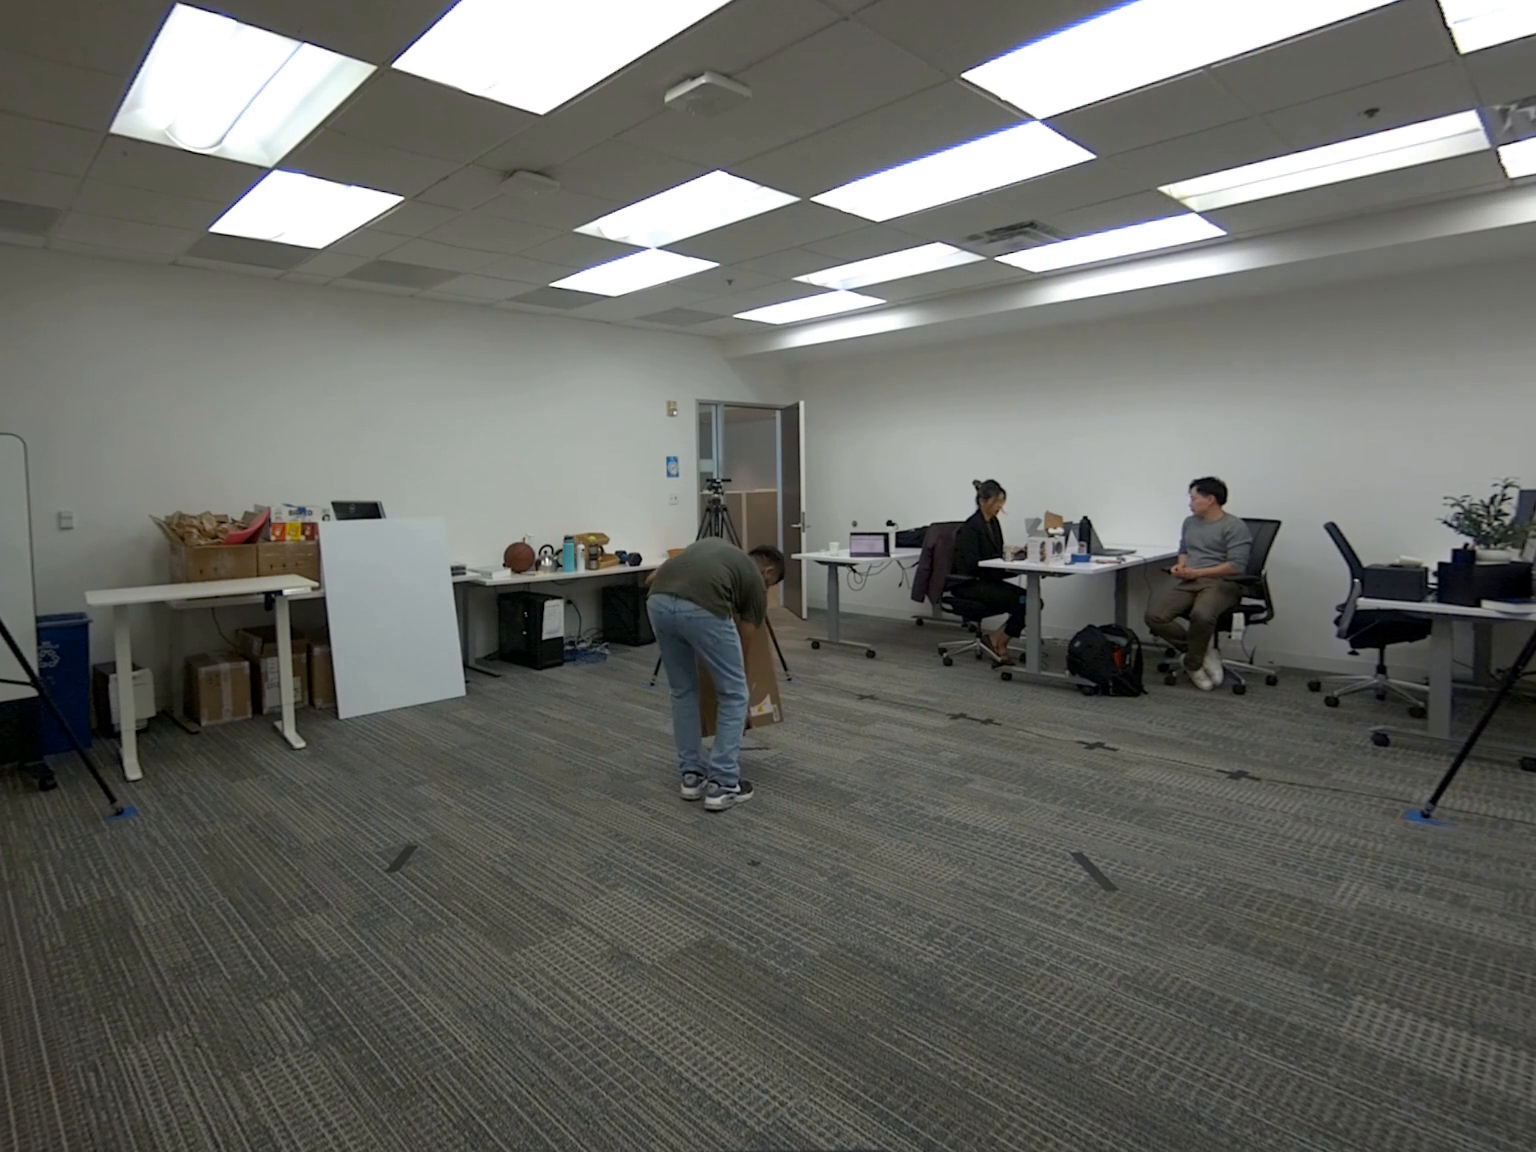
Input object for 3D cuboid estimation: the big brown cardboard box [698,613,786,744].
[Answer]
[{"bbox_3d":[-0.193,0.454,4.151,0.415,0.588,0.235,-10,2,-7],"label":"big brown cardboard box"}]
